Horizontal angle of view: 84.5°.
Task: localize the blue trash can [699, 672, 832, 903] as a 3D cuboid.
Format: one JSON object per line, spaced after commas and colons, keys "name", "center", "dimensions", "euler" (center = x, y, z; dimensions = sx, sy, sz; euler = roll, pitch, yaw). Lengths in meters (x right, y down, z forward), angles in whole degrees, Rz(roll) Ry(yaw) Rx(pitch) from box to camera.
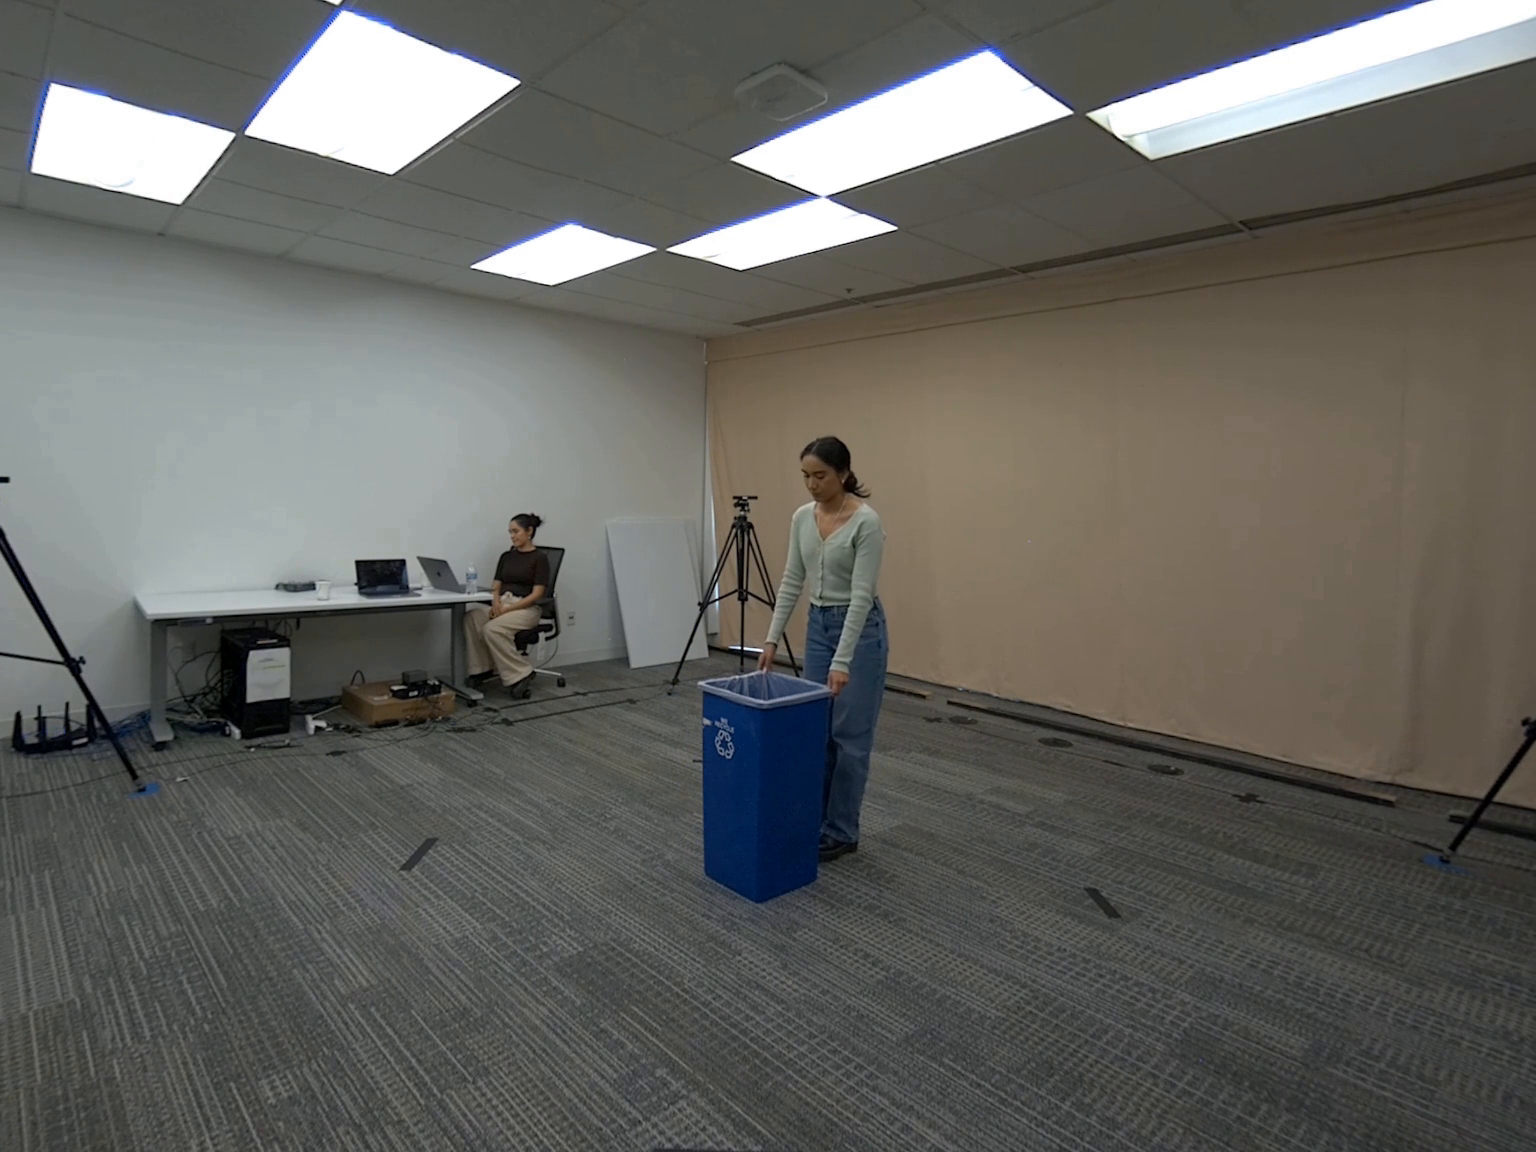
{"name": "blue trash can", "center": [-0.021, 0.753, 3.065], "dimensions": [0.369, 0.712, 0.383], "euler": [-2, 4, -42]}
